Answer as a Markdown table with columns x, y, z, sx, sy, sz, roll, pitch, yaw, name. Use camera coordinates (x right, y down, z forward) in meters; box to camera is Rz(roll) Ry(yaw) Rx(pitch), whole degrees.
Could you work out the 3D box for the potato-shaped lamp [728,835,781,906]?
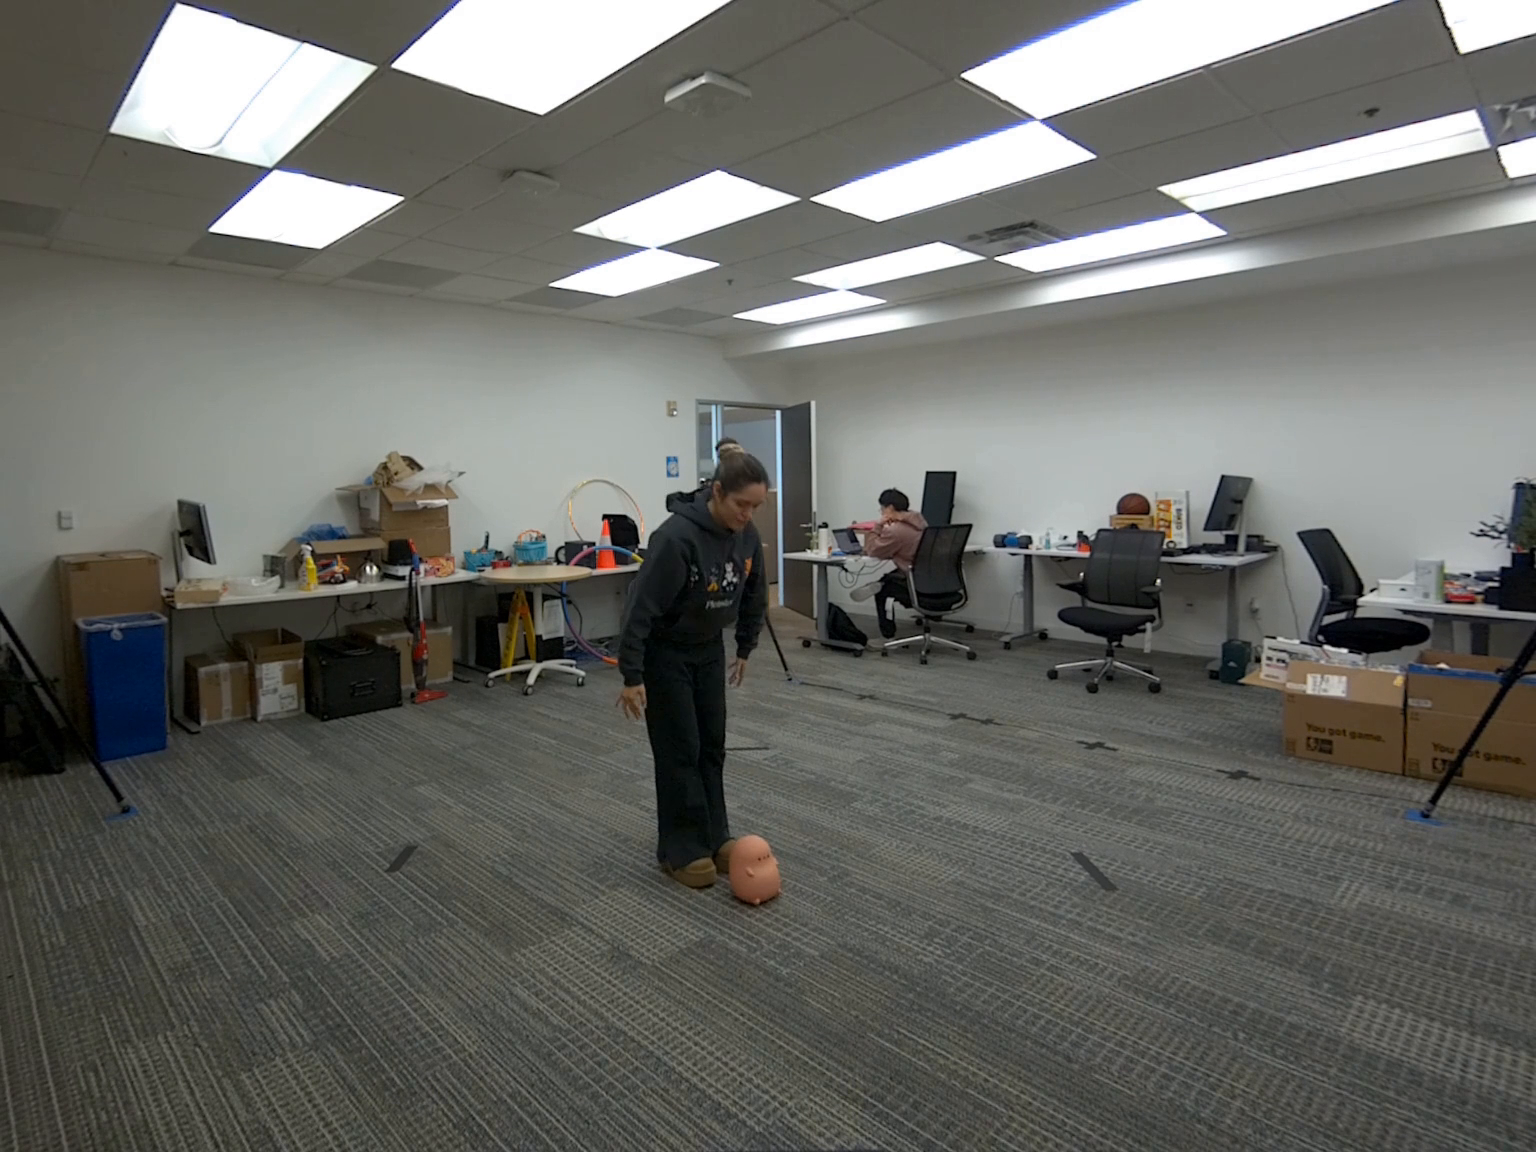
| x | y | z | sx | sy | sz | roll | pitch | yaw | name |
| --- | --- | --- | --- | --- | --- | --- | --- | --- | --- |
| -0.051 | 0.993 | 2.840 | 0.176 | 0.200 | 0.159 | -3 | -41 | 37 | potato-shaped lamp |
